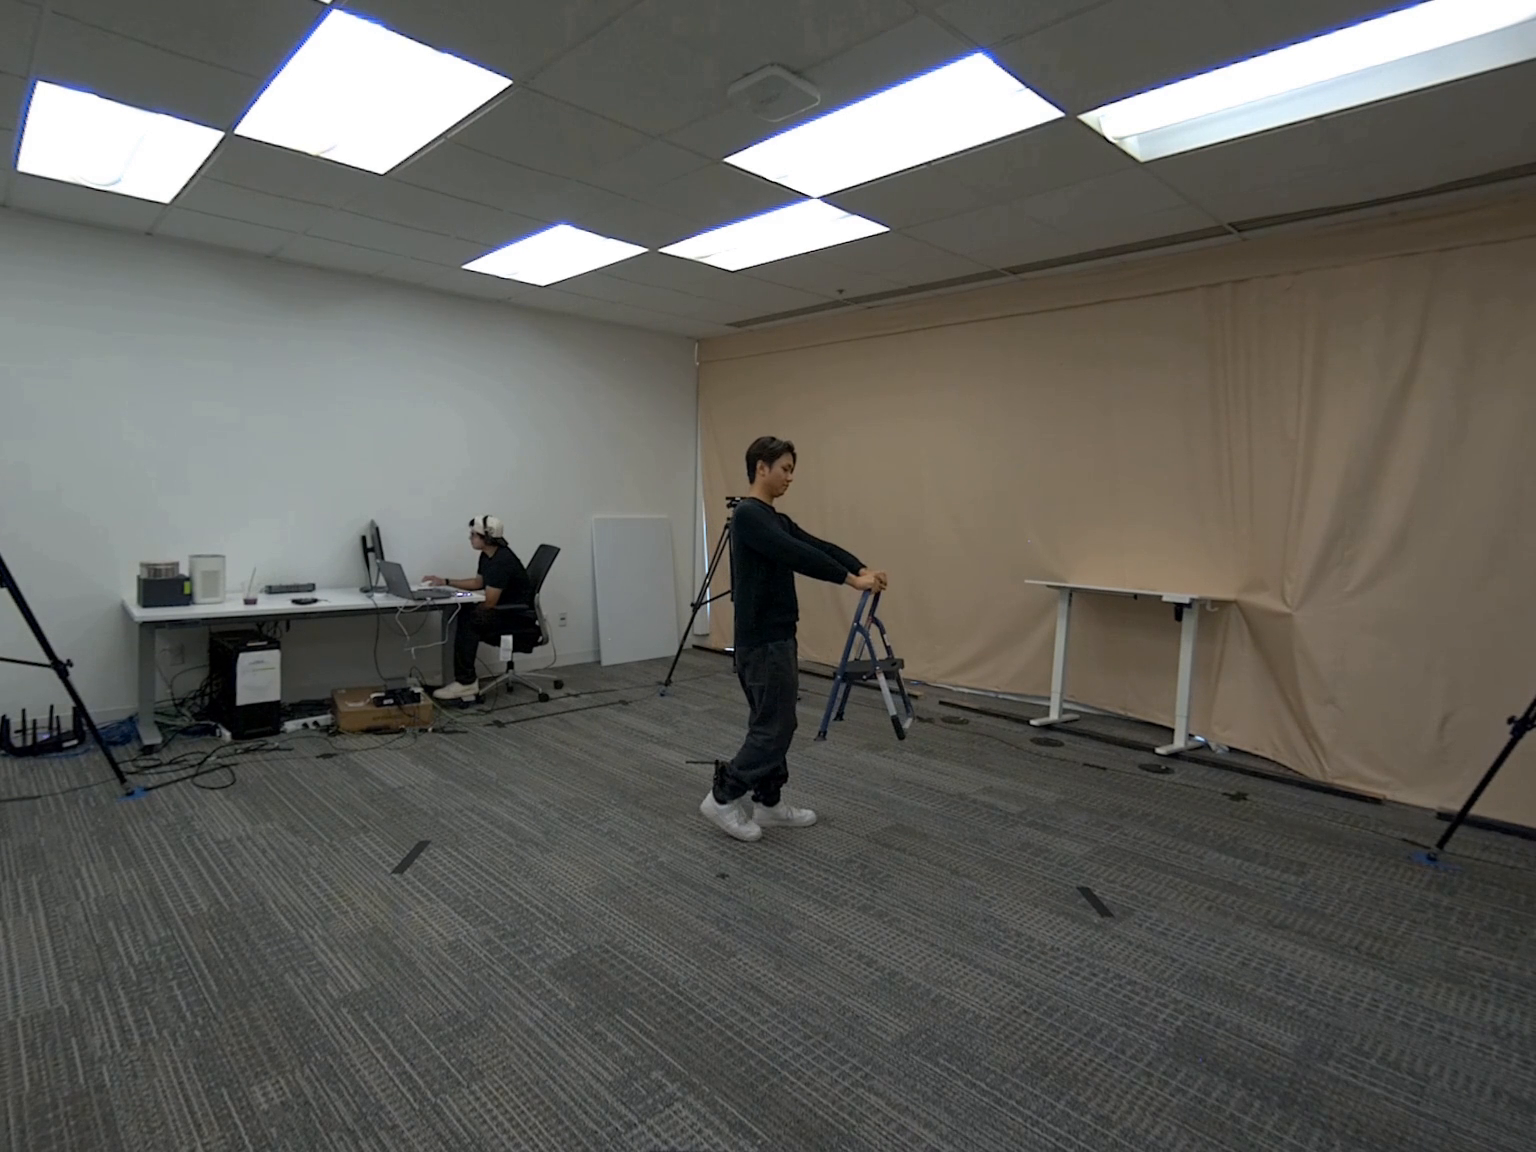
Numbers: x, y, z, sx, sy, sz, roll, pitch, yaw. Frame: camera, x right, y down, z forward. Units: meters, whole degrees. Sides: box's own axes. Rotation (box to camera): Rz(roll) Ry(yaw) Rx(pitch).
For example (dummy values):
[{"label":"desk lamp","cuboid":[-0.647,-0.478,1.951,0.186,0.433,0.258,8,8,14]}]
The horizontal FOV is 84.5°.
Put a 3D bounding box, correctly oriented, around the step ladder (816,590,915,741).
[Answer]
[{"label":"step ladder","cuboid":[0.366,0.322,3.409,0.353,0.606,0.425,-5,-1,15]}]
